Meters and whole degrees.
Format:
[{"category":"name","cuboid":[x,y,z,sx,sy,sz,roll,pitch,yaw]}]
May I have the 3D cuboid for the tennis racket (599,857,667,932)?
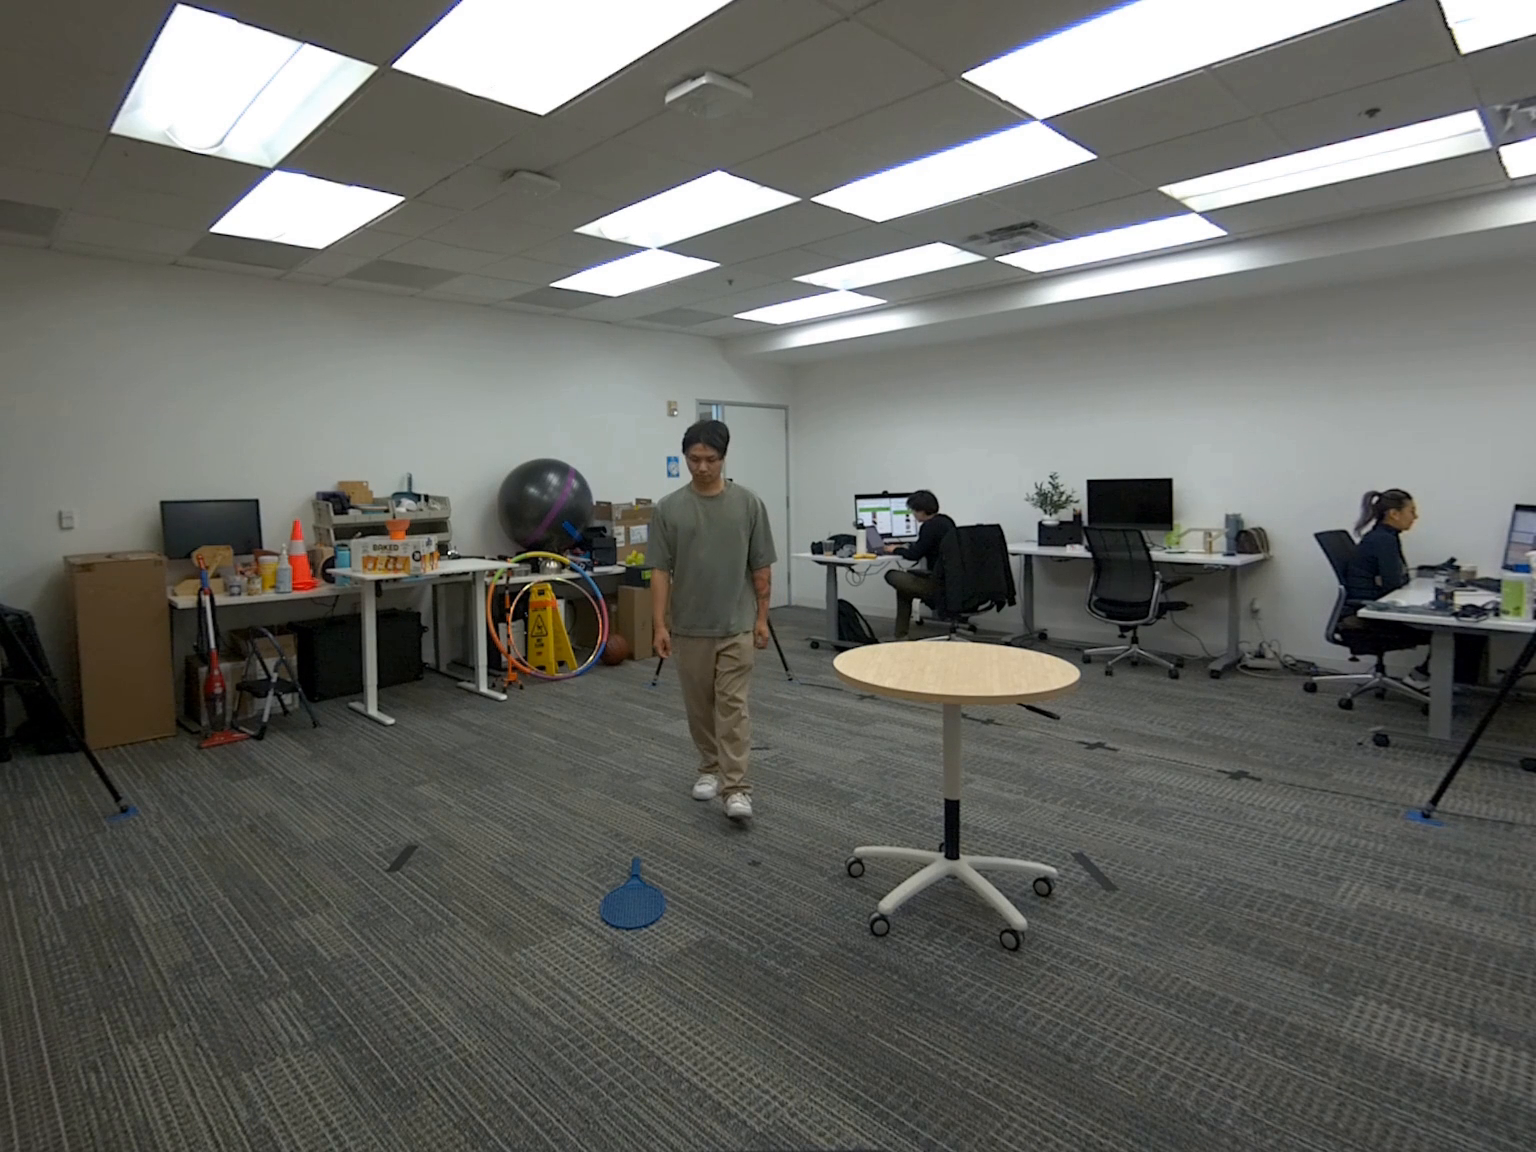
[{"category":"tennis racket","cuboid":[-0.448,1.062,2.882,0.212,0.031,0.438,-3,8,-7]}]
